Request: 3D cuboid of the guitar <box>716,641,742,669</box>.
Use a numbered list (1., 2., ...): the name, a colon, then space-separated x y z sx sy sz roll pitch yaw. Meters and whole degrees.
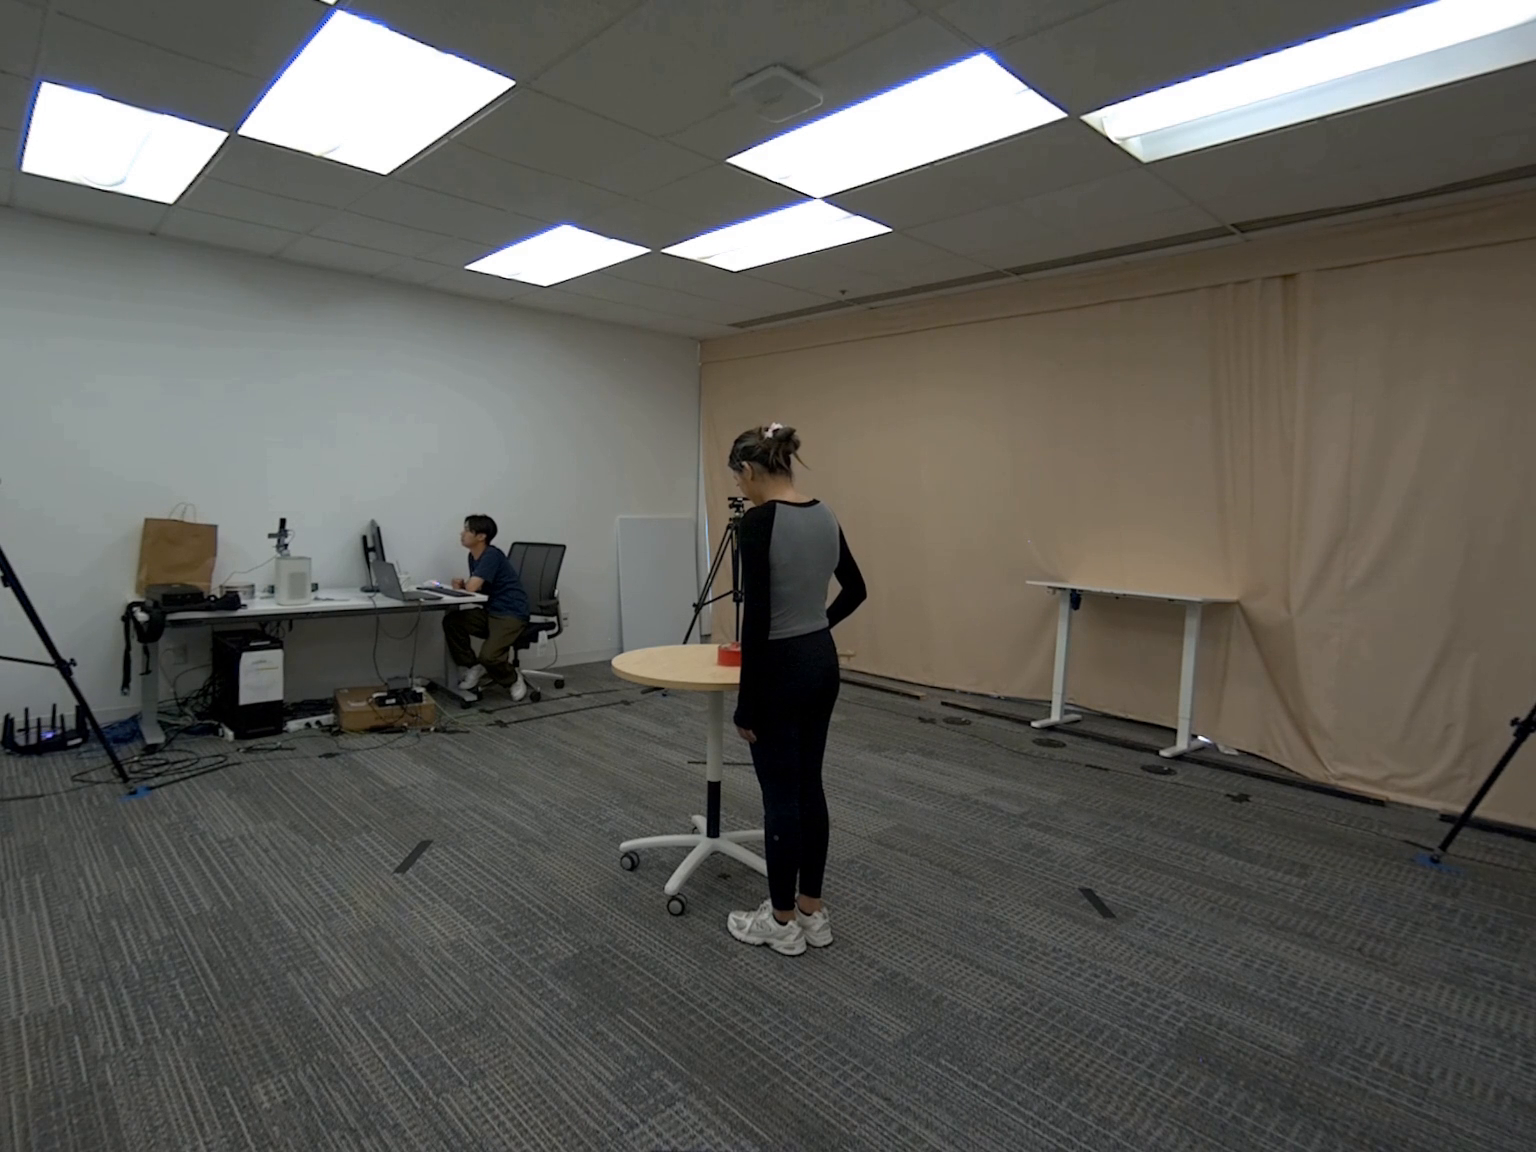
1. guitar: 0.042 0.297 3.001 0.508 0.070 0.189 3 4 26
